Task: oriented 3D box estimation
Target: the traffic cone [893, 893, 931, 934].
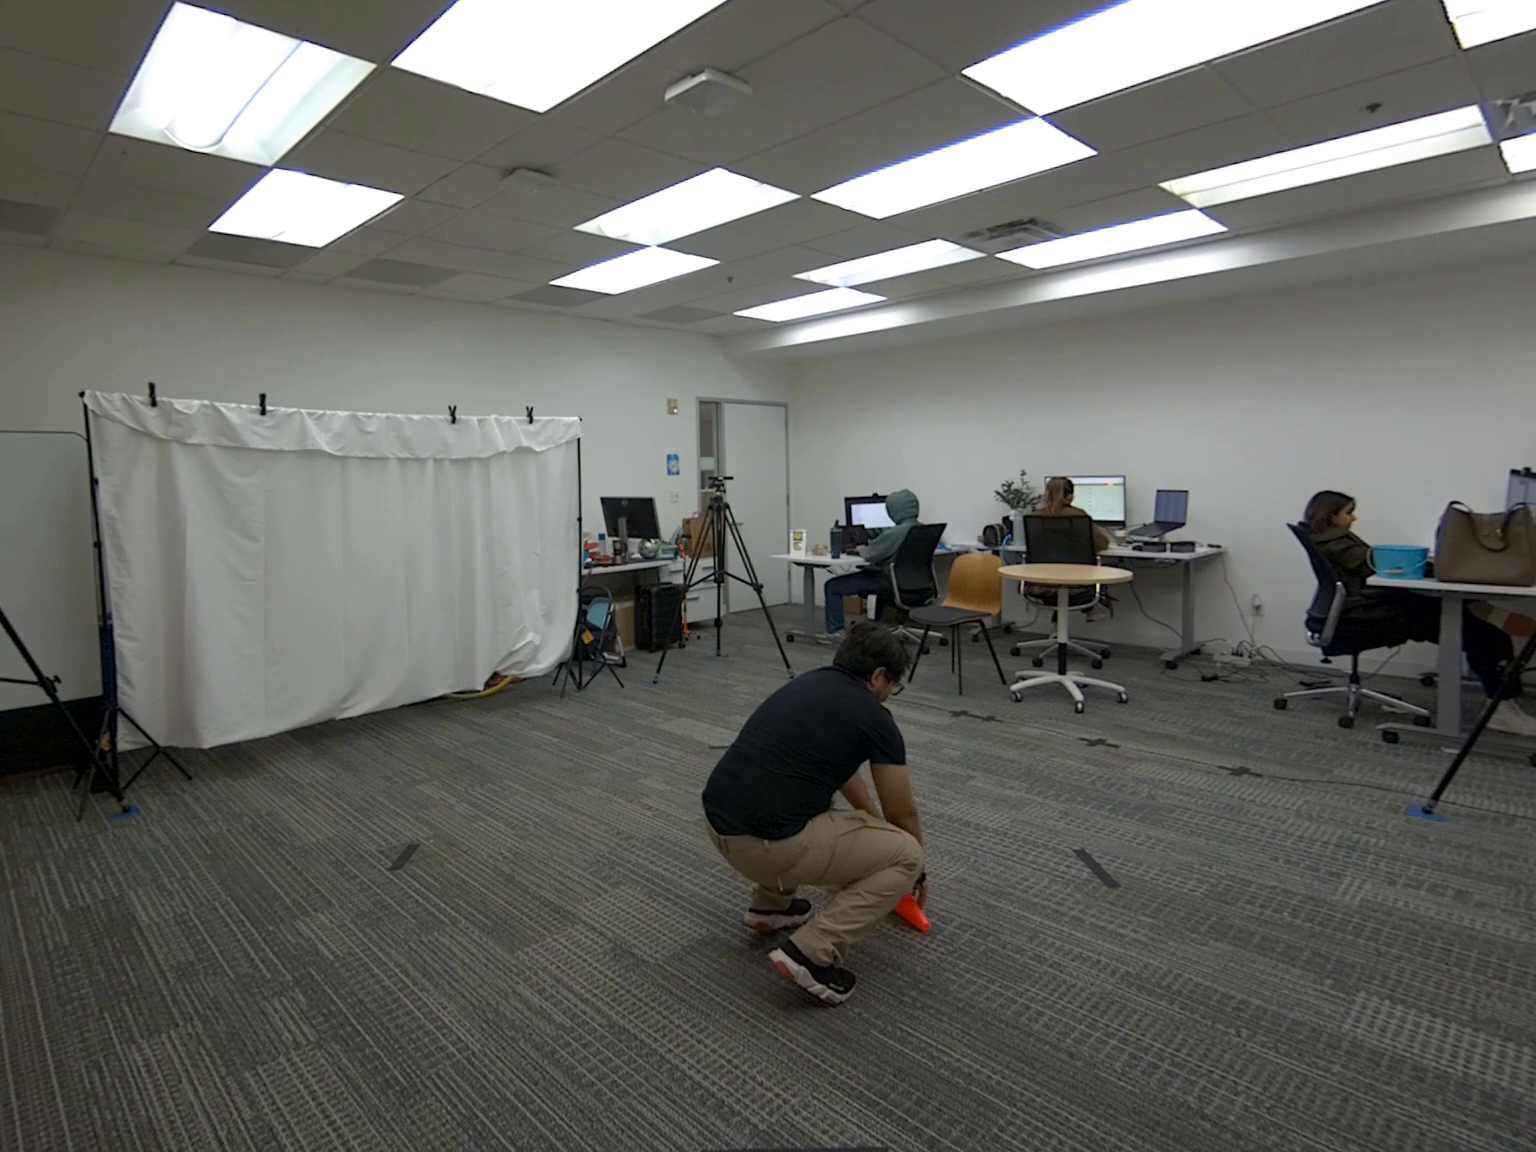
[{"bbox_3d":[0.415,1.008,2.764,0.197,0.204,0.397,10,13,-31],"label":"traffic cone"}]
